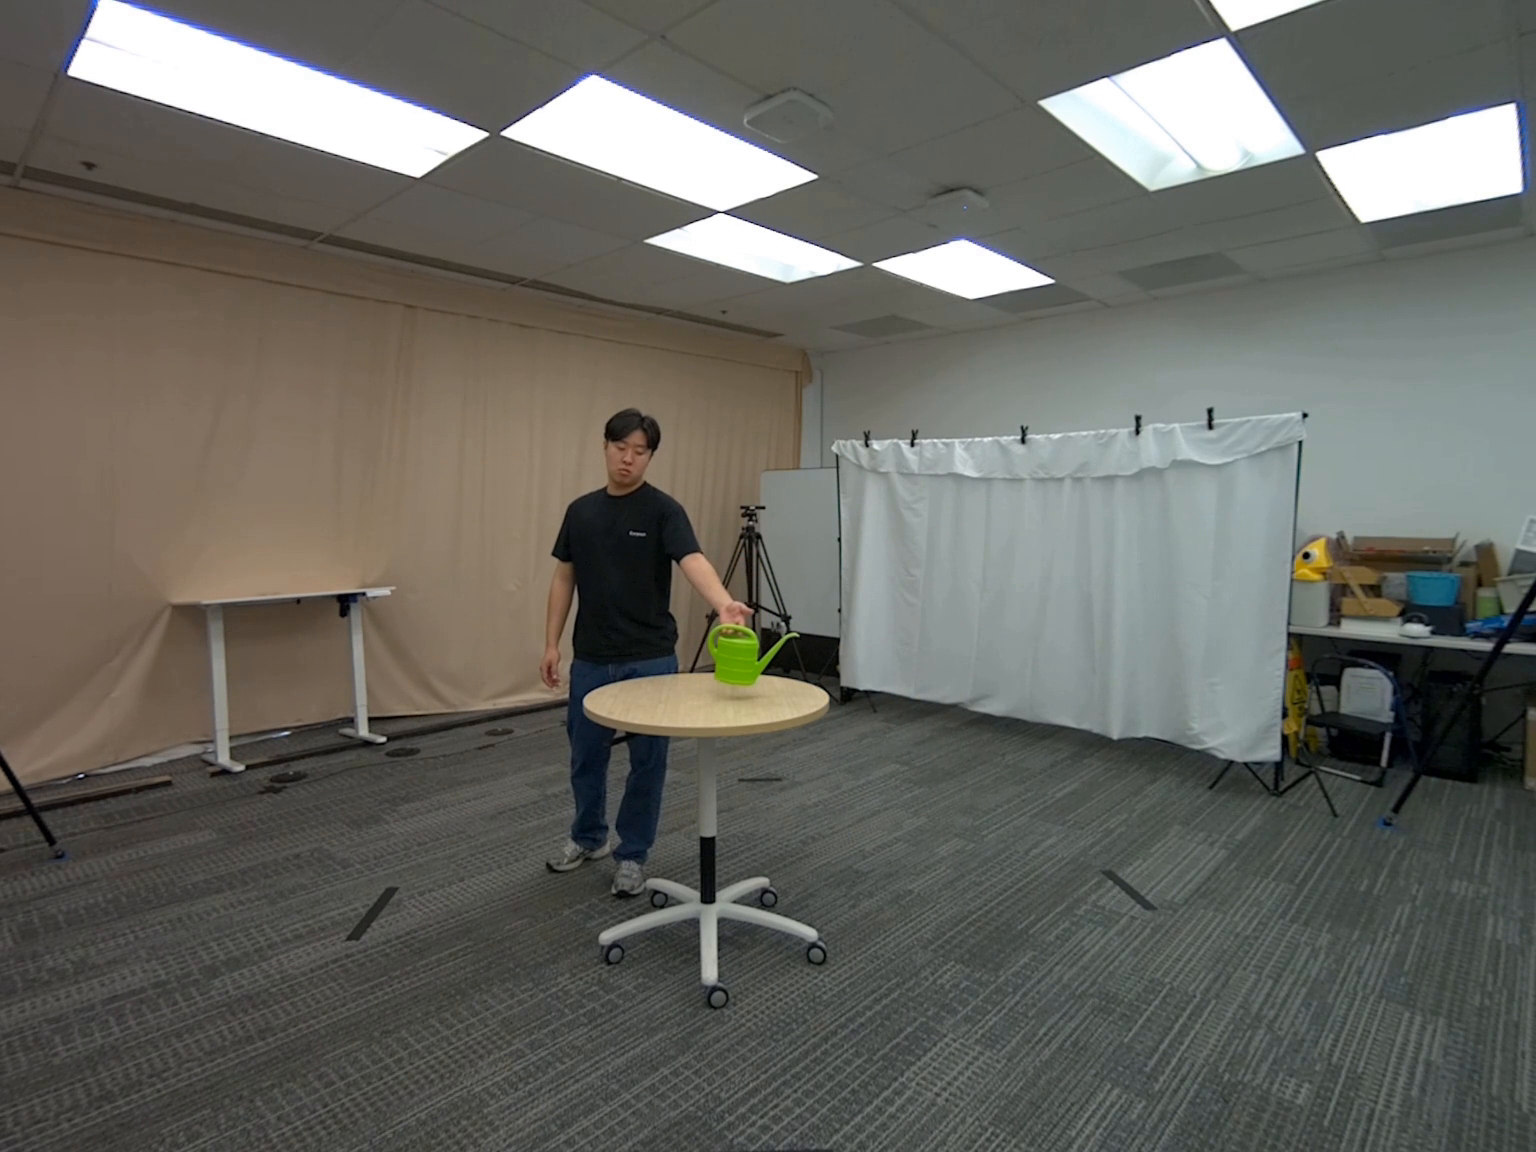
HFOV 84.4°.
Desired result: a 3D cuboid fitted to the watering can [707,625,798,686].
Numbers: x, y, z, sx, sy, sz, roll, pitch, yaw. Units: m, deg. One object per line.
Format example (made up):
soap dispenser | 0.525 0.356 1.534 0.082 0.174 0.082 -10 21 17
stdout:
watering can | -0.047 0.244 2.575 0.286 0.176 0.095 7 4 25
